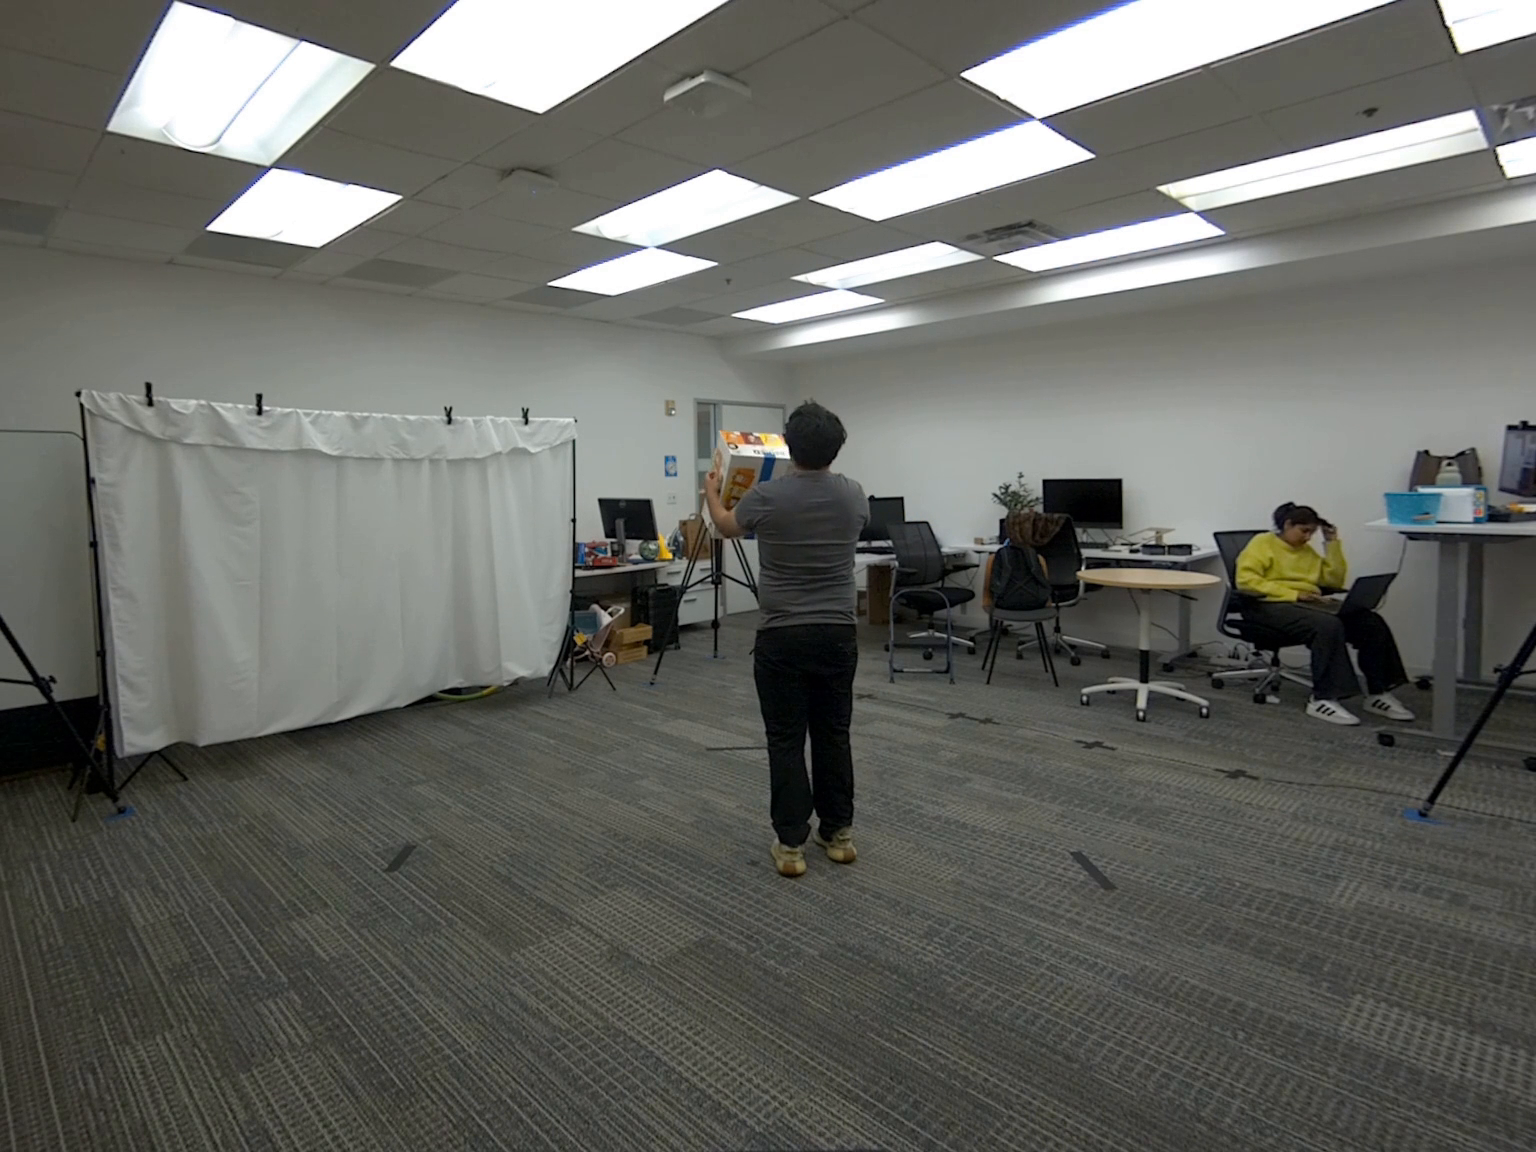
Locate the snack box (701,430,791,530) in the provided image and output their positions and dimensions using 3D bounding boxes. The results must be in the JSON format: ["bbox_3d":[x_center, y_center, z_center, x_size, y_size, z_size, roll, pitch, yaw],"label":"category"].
[{"bbox_3d":[-0.057,-0.373,3.586,0.334,0.398,0.213,2,35,-19],"label":"snack box"}]
